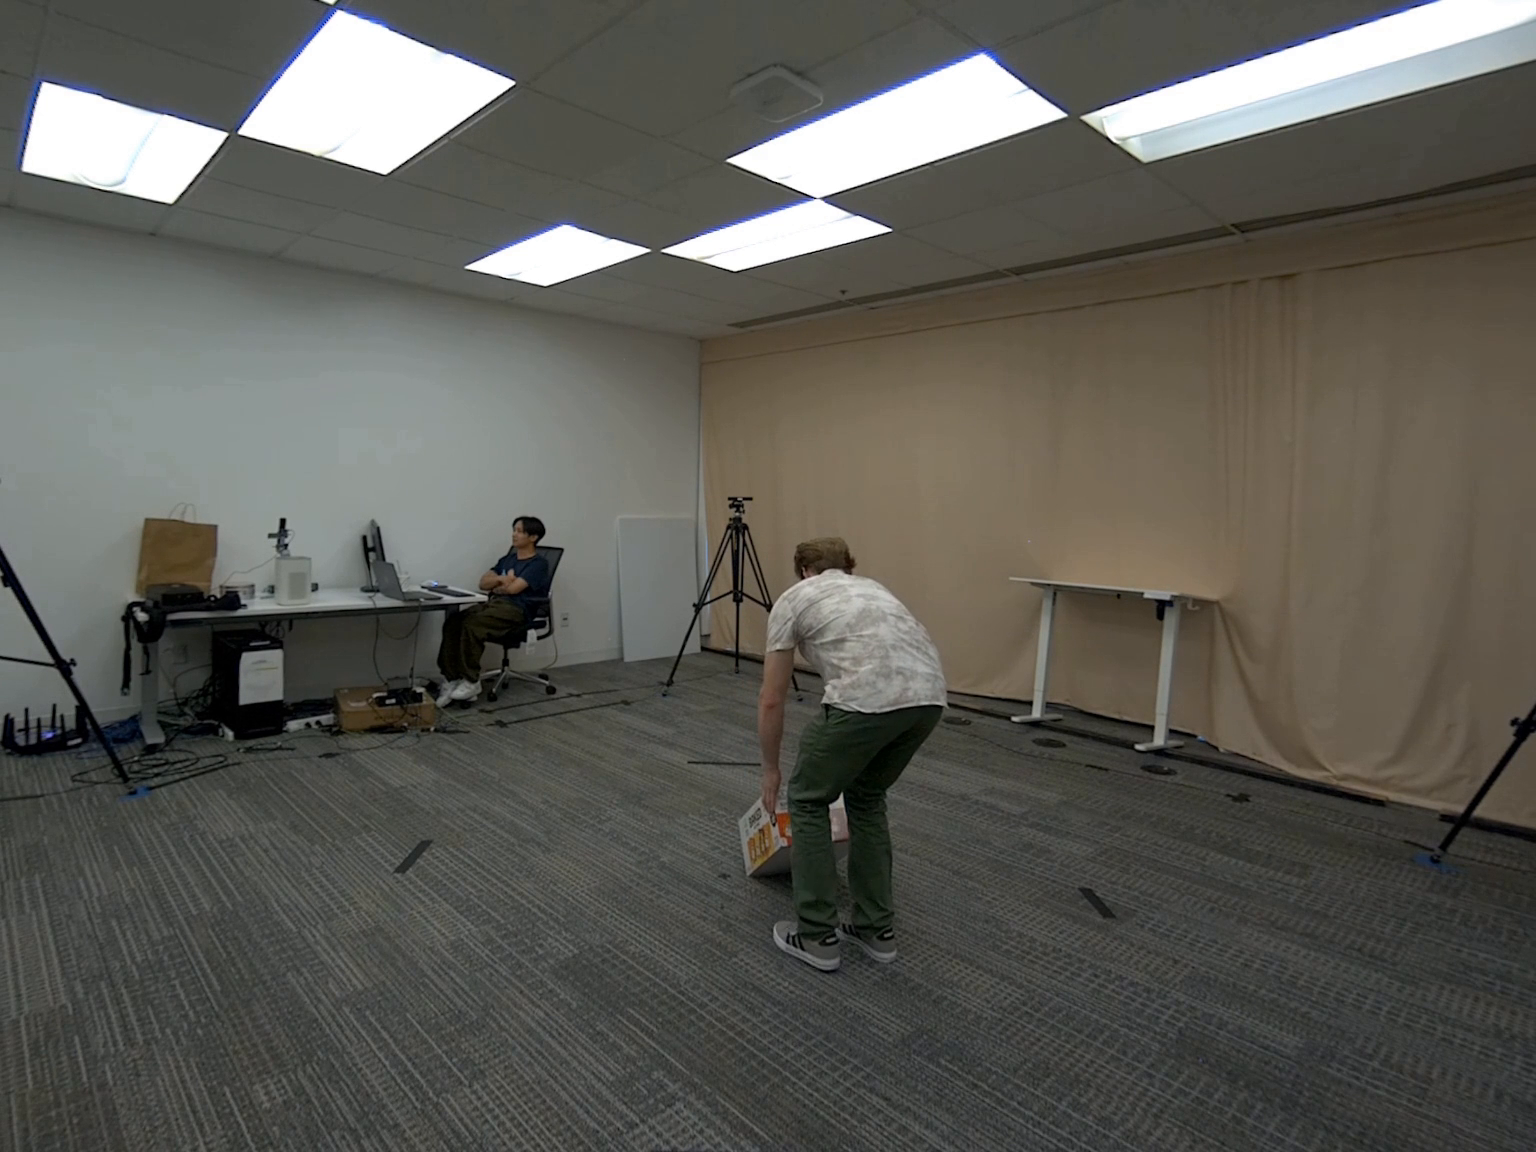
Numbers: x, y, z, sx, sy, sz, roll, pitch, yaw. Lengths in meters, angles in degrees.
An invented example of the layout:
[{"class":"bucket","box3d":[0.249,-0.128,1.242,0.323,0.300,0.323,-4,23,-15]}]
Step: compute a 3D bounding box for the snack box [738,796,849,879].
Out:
[{"class":"snack box","box3d":[0.118,0.920,3.042,0.335,0.210,0.401,1,-33,-18]}]
